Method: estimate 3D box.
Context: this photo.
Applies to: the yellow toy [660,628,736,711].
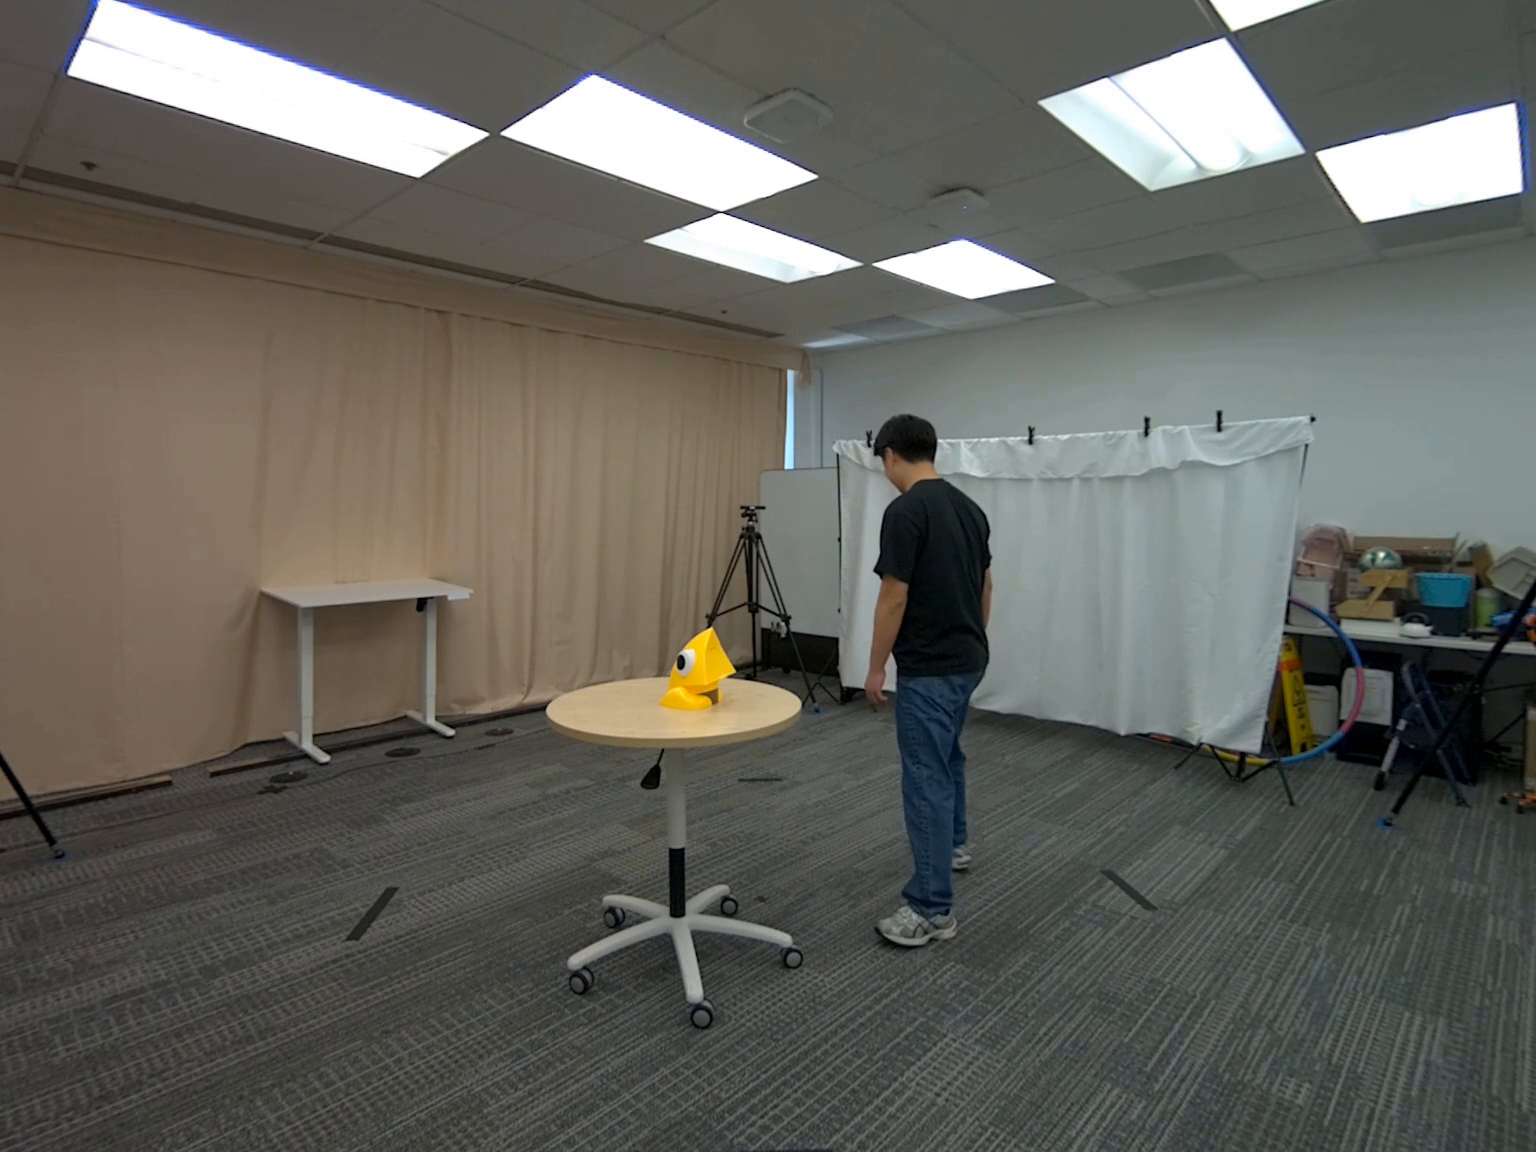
[{"bbox_3d":[-0.220,0.271,2.558,0.198,0.230,0.200,1,5,23],"label":"yellow toy"}]
